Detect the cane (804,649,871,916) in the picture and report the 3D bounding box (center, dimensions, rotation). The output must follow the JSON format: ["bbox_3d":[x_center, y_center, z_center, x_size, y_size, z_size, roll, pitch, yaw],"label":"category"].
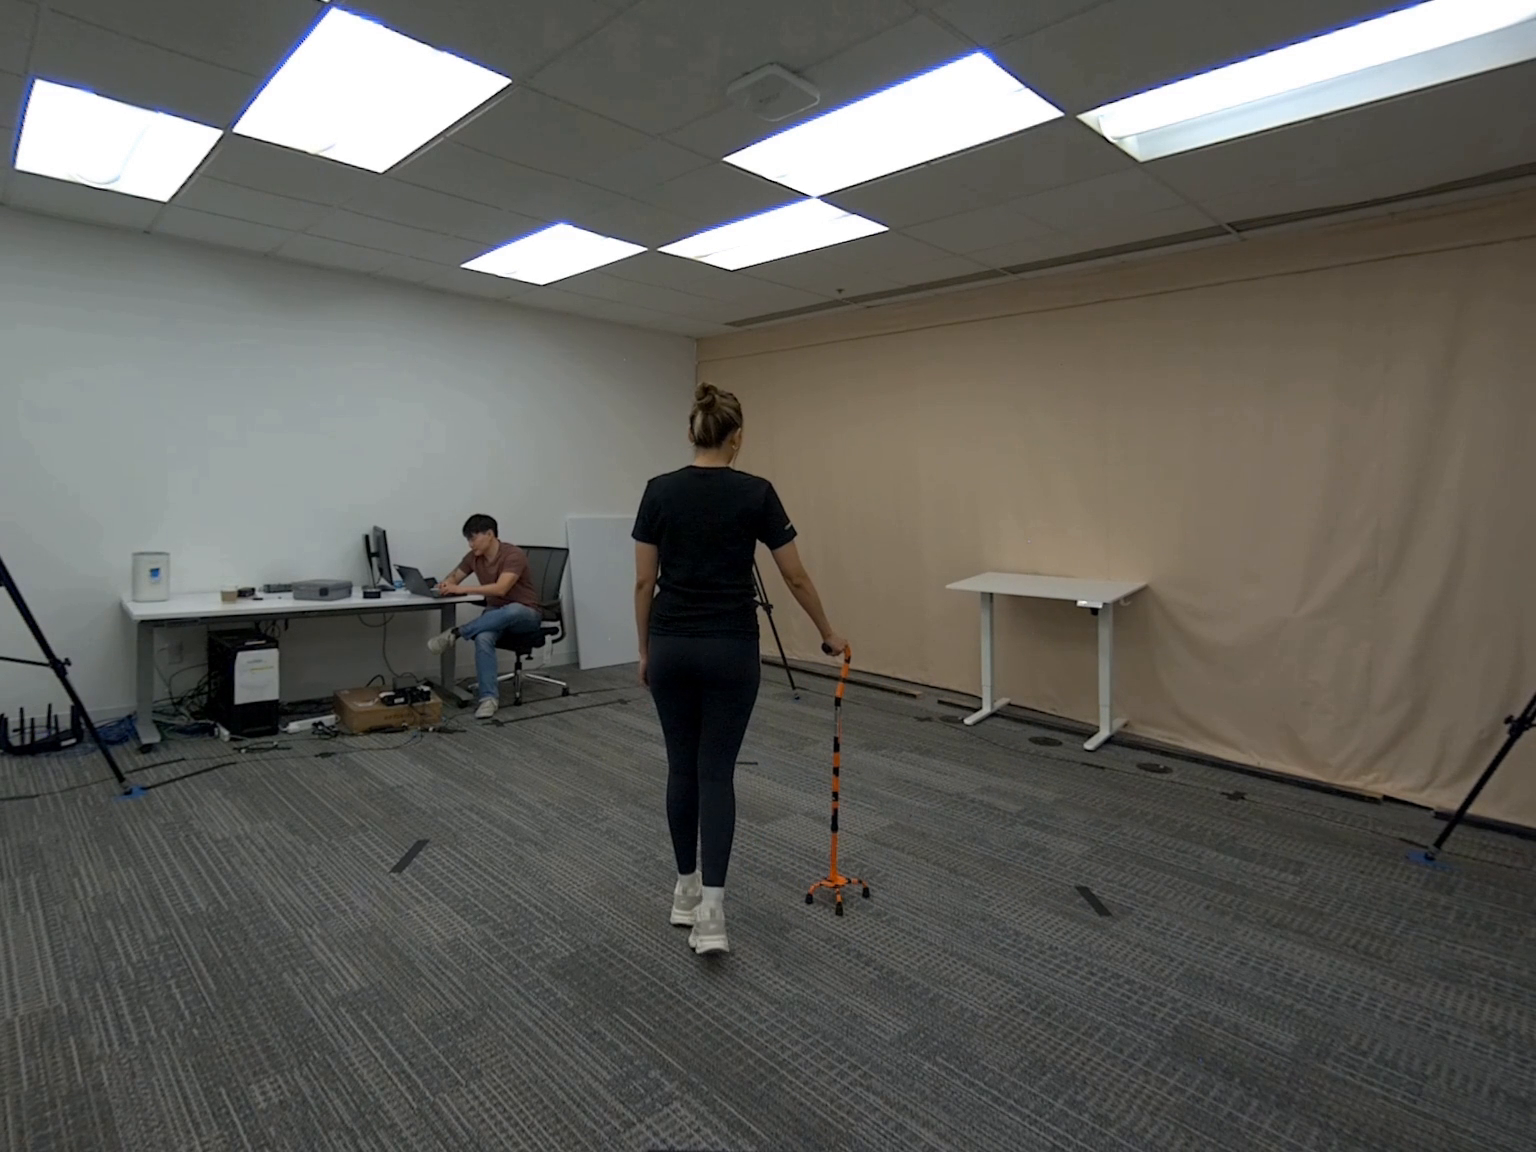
[{"bbox_3d":[0.240,0.673,2.916,0.155,0.906,0.202,2,3,37],"label":"cane"}]
